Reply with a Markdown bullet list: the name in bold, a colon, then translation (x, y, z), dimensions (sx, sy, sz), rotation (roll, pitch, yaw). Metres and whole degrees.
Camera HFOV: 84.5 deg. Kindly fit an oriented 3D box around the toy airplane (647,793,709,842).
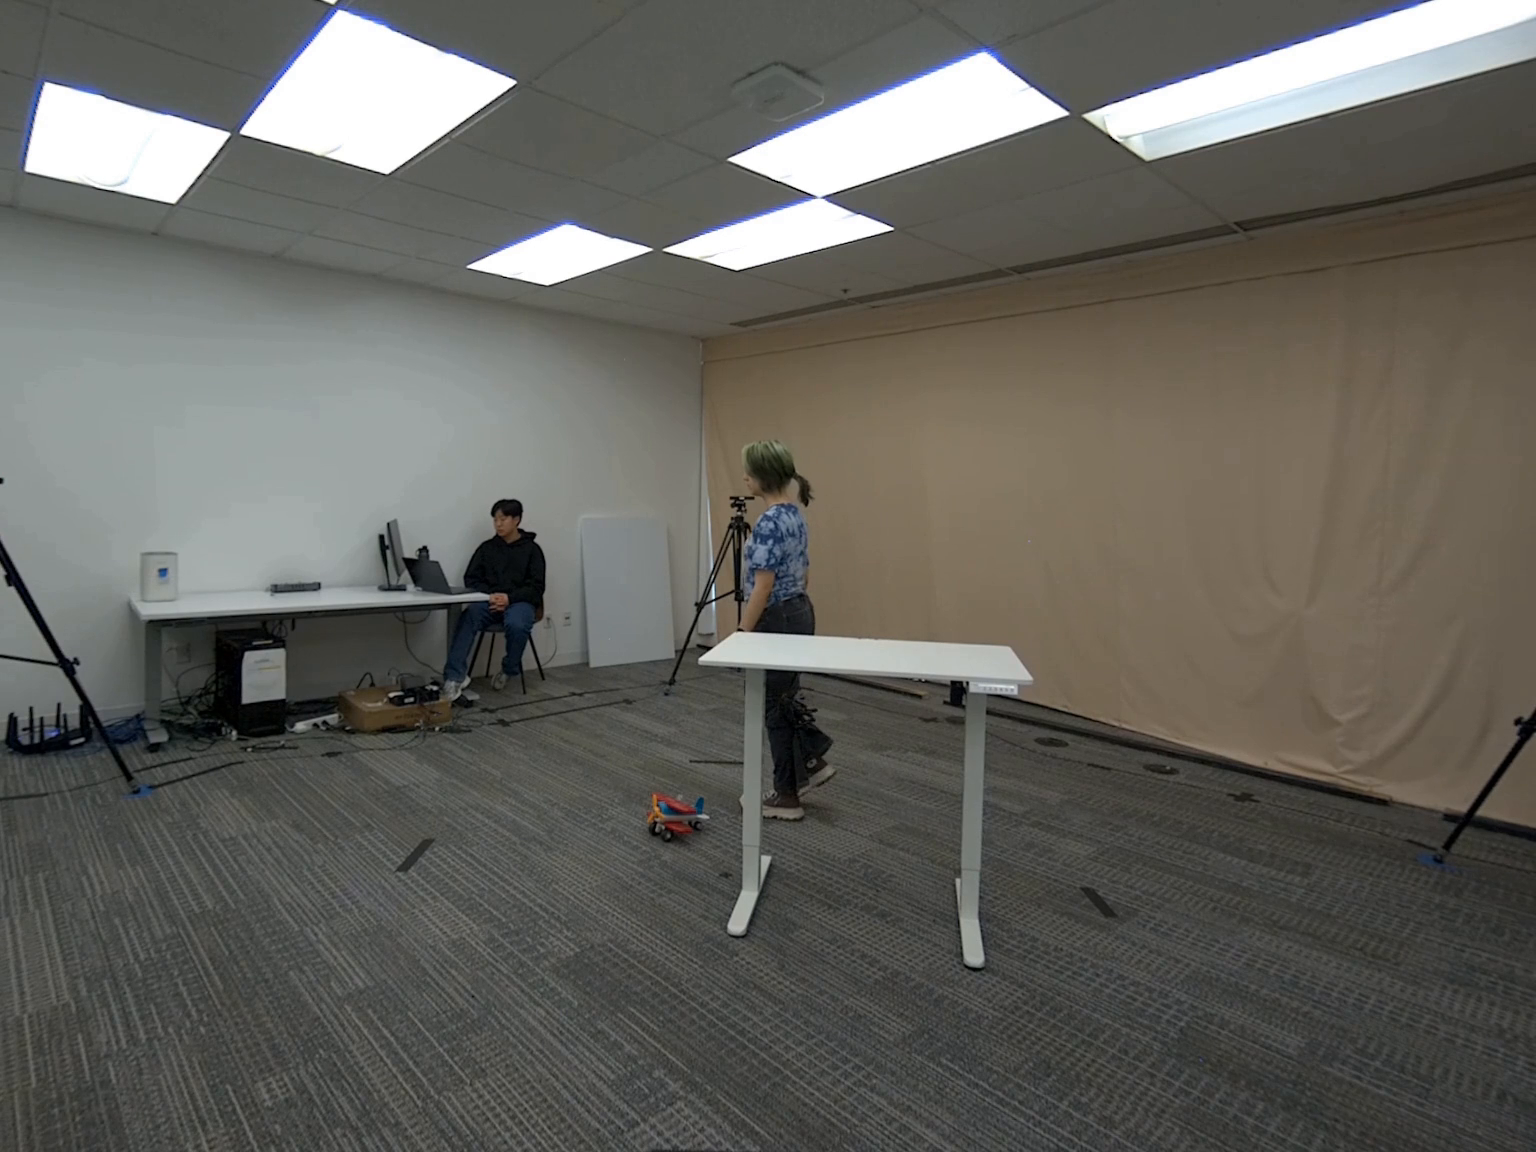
- **toy airplane**: translation (-0.395, 0.990, 3.490), dimensions (0.255, 0.156, 0.256), rotation (3, 6, 20)
